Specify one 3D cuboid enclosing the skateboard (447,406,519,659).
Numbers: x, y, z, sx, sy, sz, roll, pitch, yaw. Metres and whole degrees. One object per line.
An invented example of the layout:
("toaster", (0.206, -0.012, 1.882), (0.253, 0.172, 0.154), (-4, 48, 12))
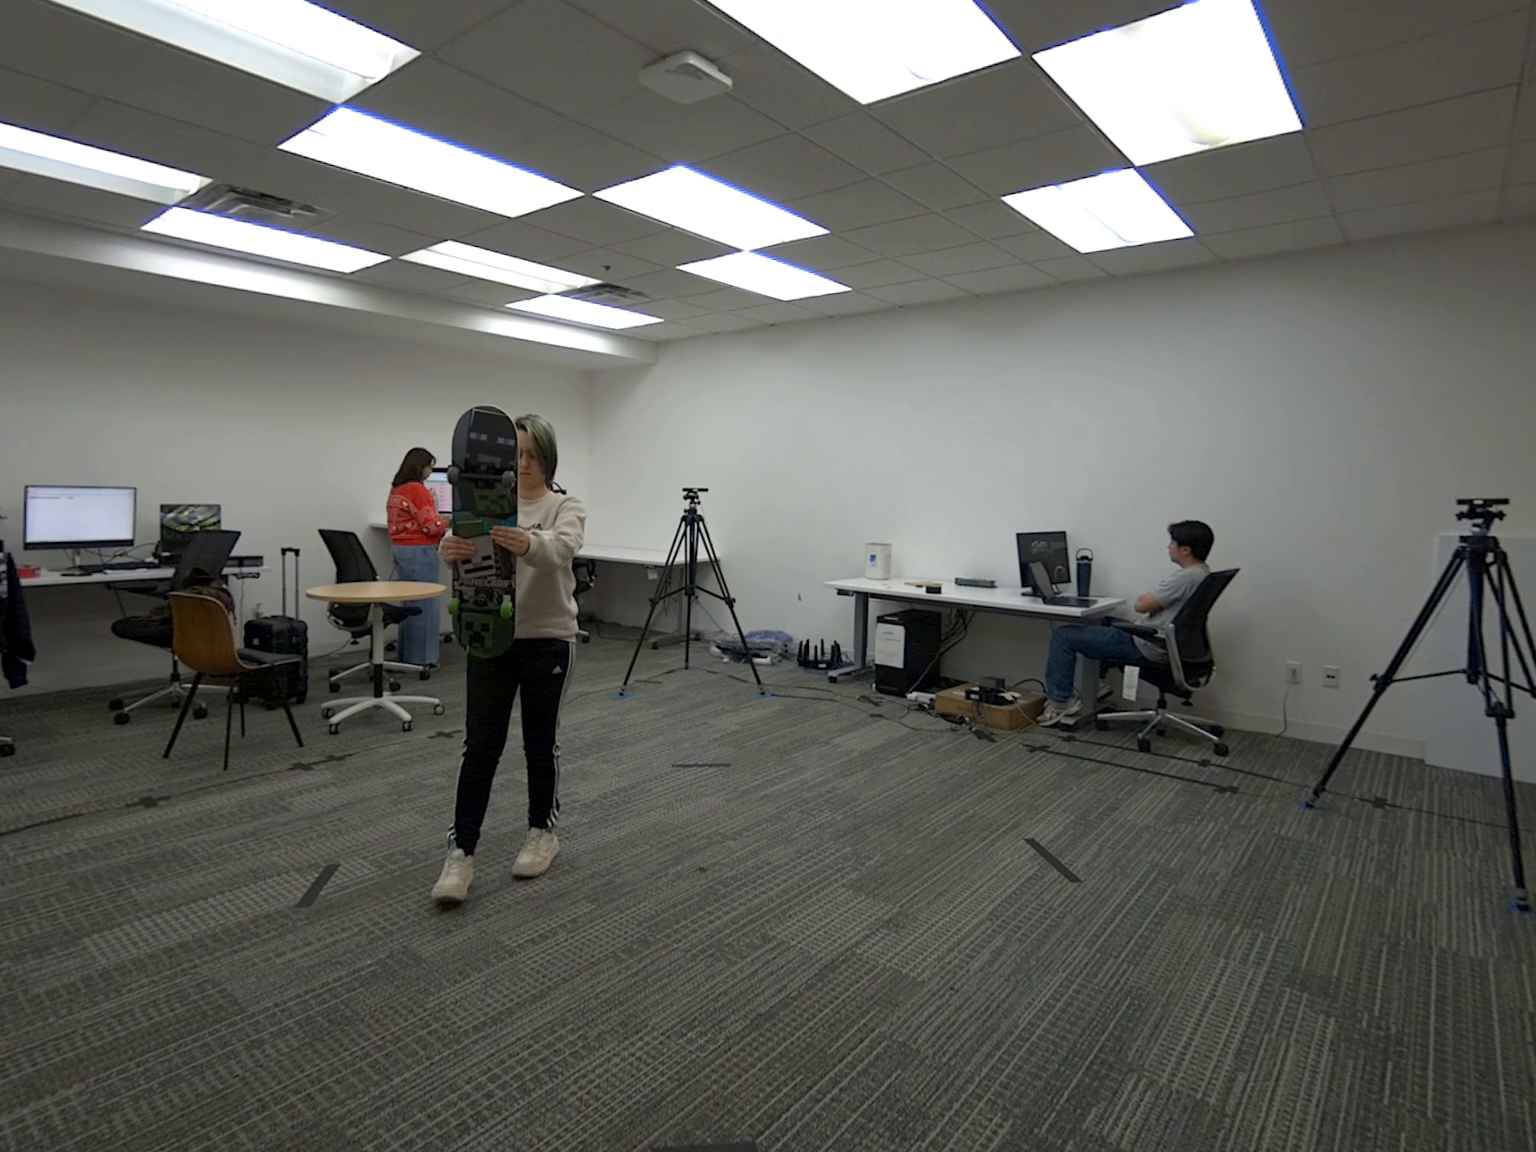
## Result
("skateboard", (-0.850, -0.103, 2.499), (0.193, 0.774, 0.112), (4, 16, -4))
